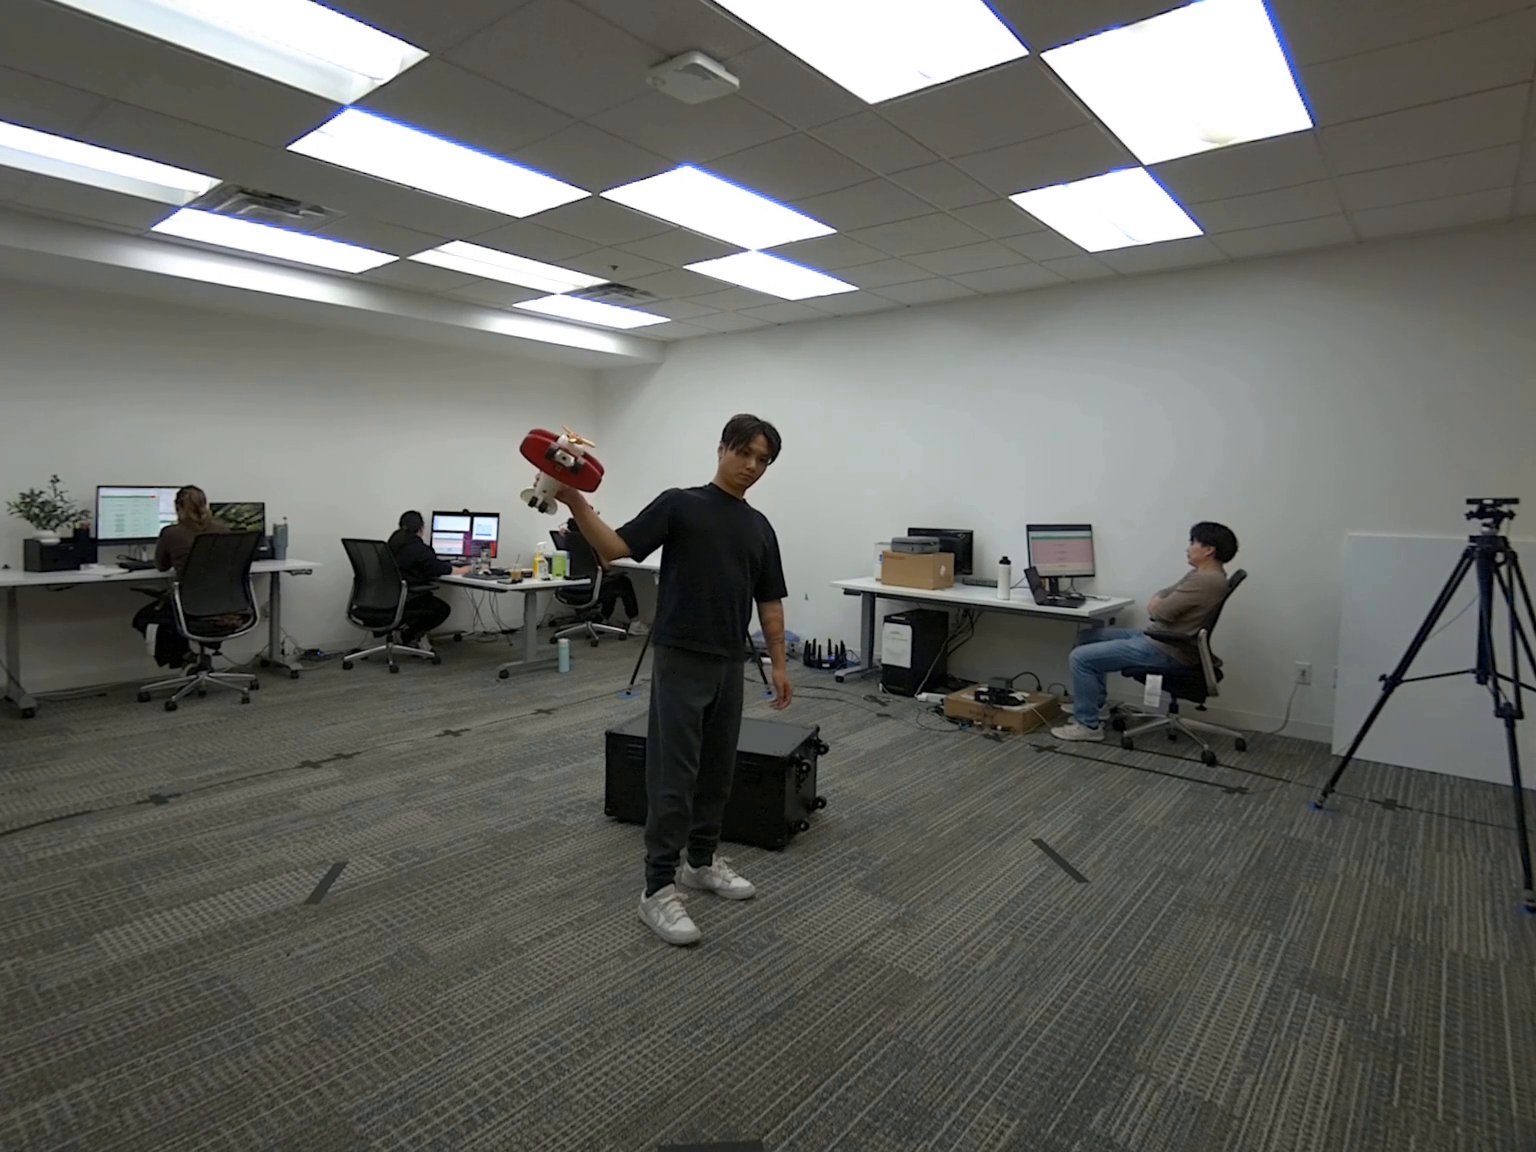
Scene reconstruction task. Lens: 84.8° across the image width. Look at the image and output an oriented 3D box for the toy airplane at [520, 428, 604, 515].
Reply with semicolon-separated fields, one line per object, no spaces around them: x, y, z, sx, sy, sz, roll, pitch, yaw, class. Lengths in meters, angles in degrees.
-0.658;-0.326;2.529;0.262;0.243;0.159;-22;27;20;toy airplane
